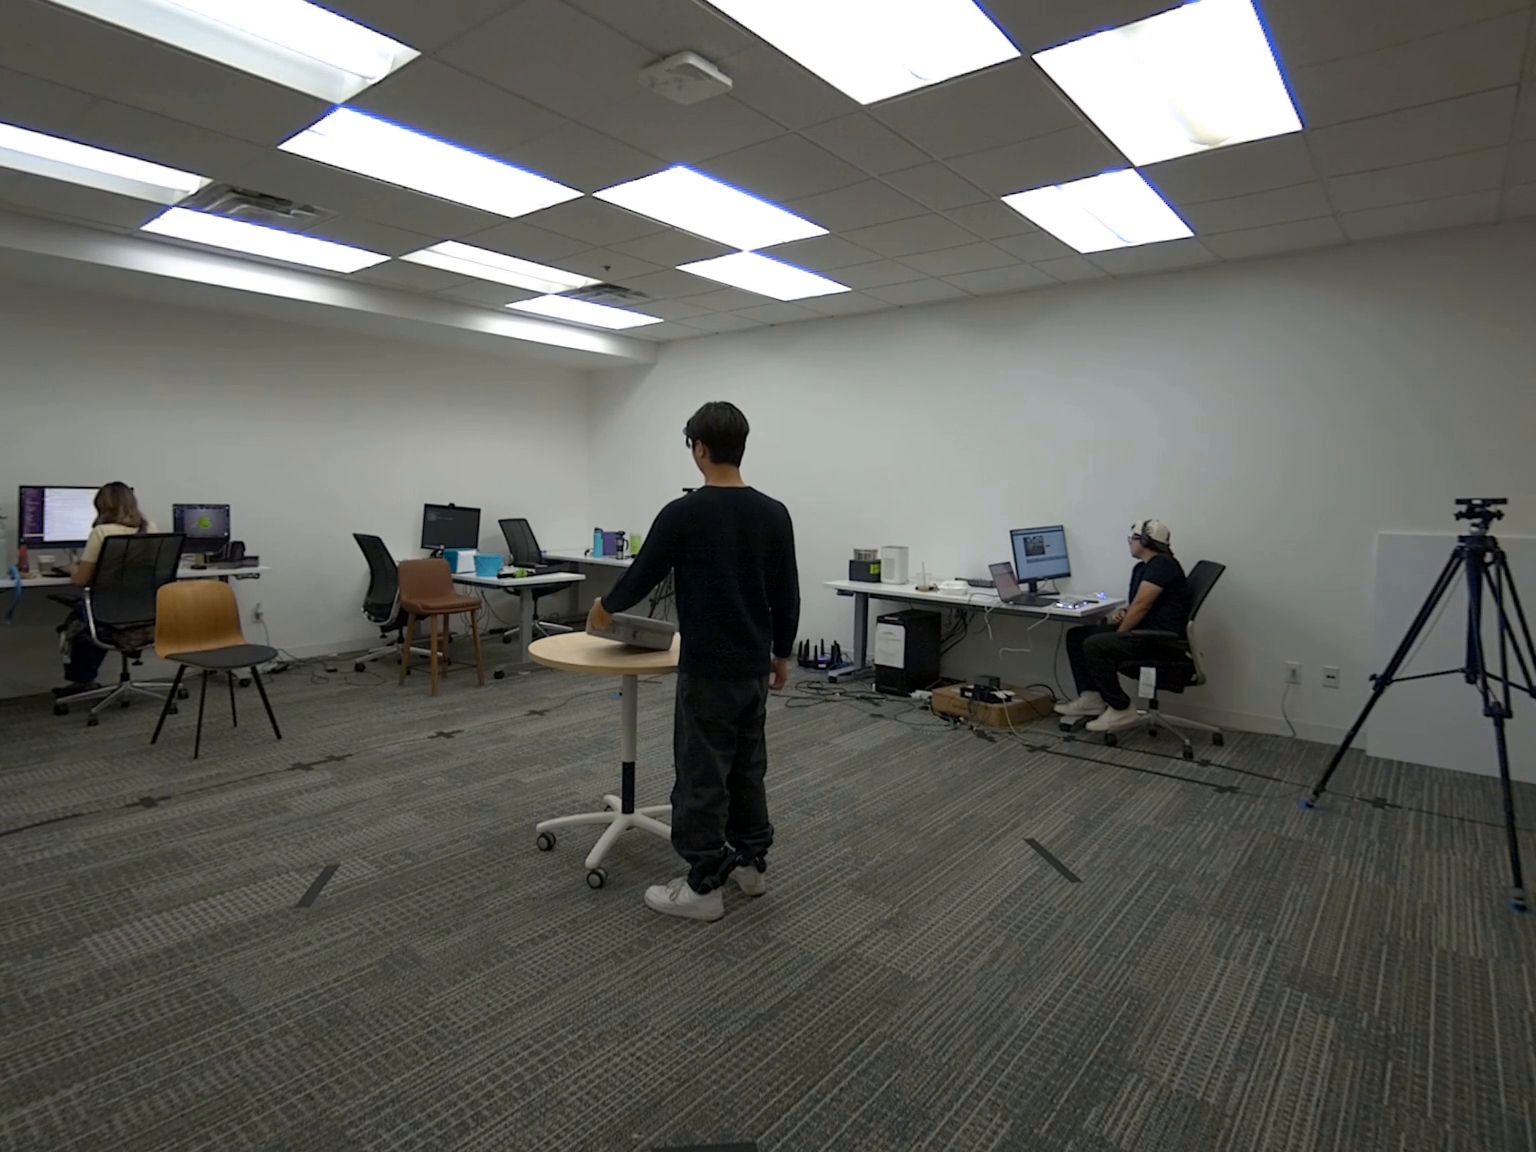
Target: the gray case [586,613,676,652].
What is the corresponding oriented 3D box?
[{"bbox_3d":[-0.522,0.194,3.193,0.266,0.105,0.251,6,-6,45],"label":"gray case"}]
